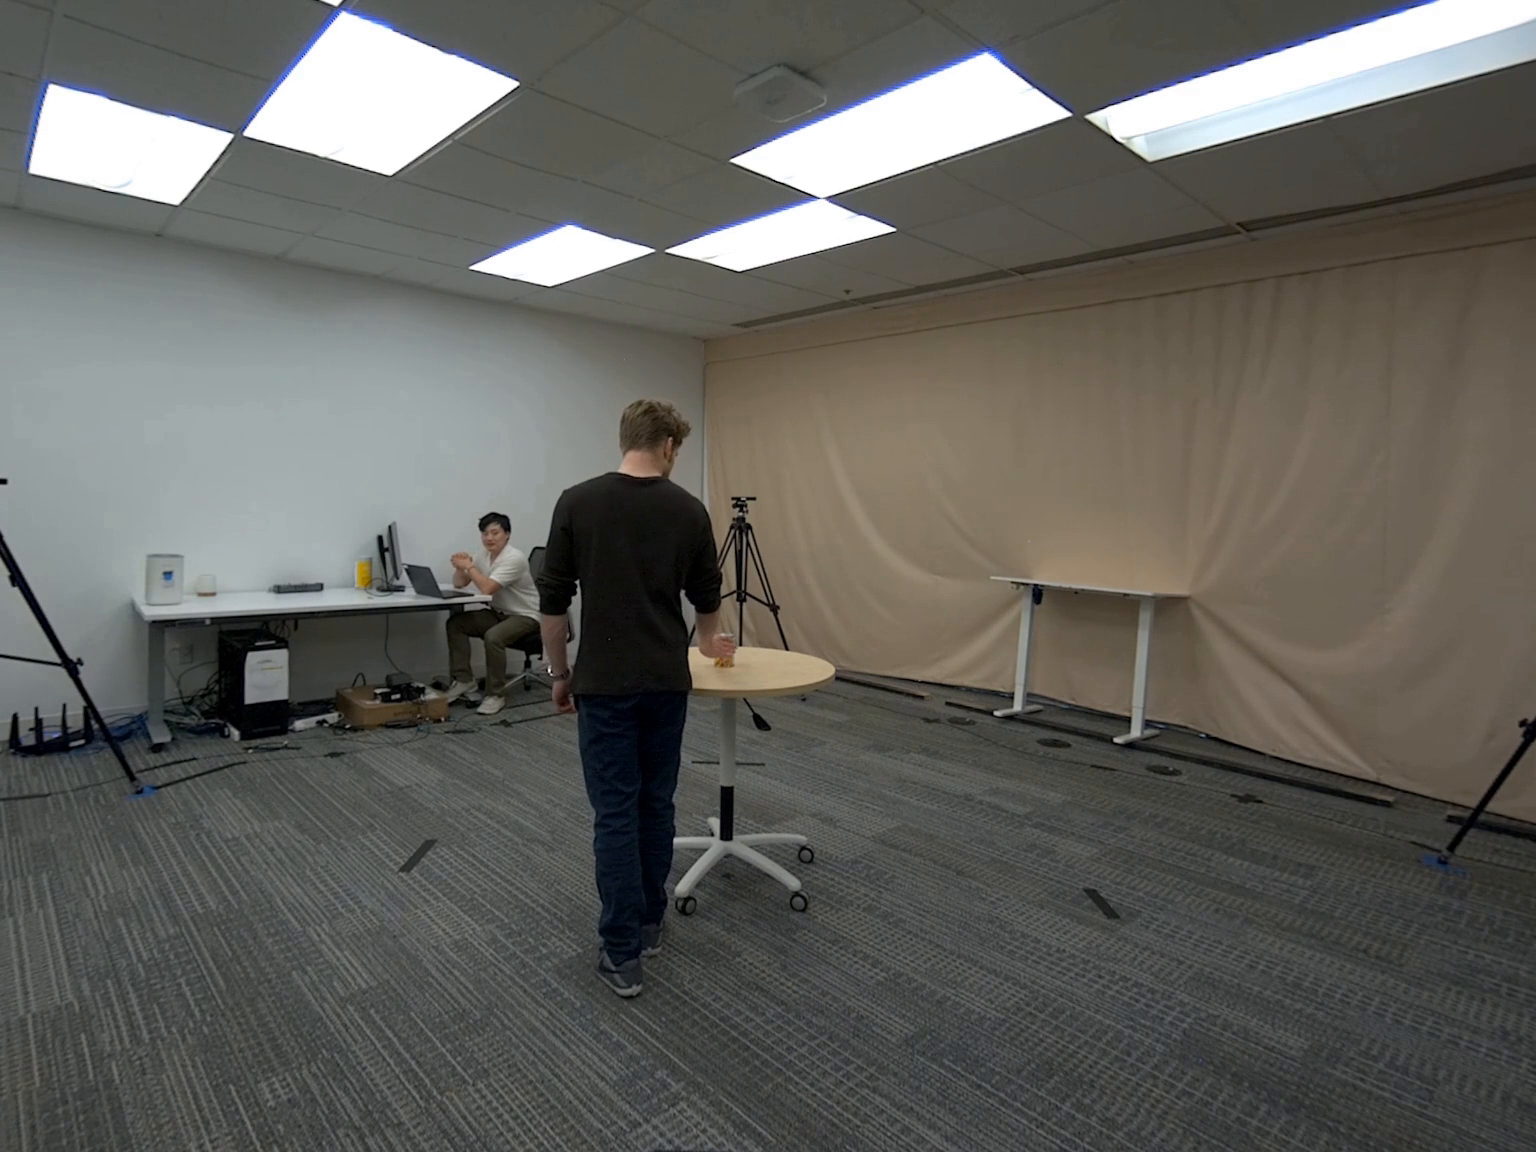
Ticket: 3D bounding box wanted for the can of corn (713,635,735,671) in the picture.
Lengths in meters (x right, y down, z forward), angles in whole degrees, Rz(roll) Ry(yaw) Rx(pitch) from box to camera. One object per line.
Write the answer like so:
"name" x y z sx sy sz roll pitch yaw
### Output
"can of corn" -0.160 0.274 3.049 0.074 0.111 0.074 1 4 -1
